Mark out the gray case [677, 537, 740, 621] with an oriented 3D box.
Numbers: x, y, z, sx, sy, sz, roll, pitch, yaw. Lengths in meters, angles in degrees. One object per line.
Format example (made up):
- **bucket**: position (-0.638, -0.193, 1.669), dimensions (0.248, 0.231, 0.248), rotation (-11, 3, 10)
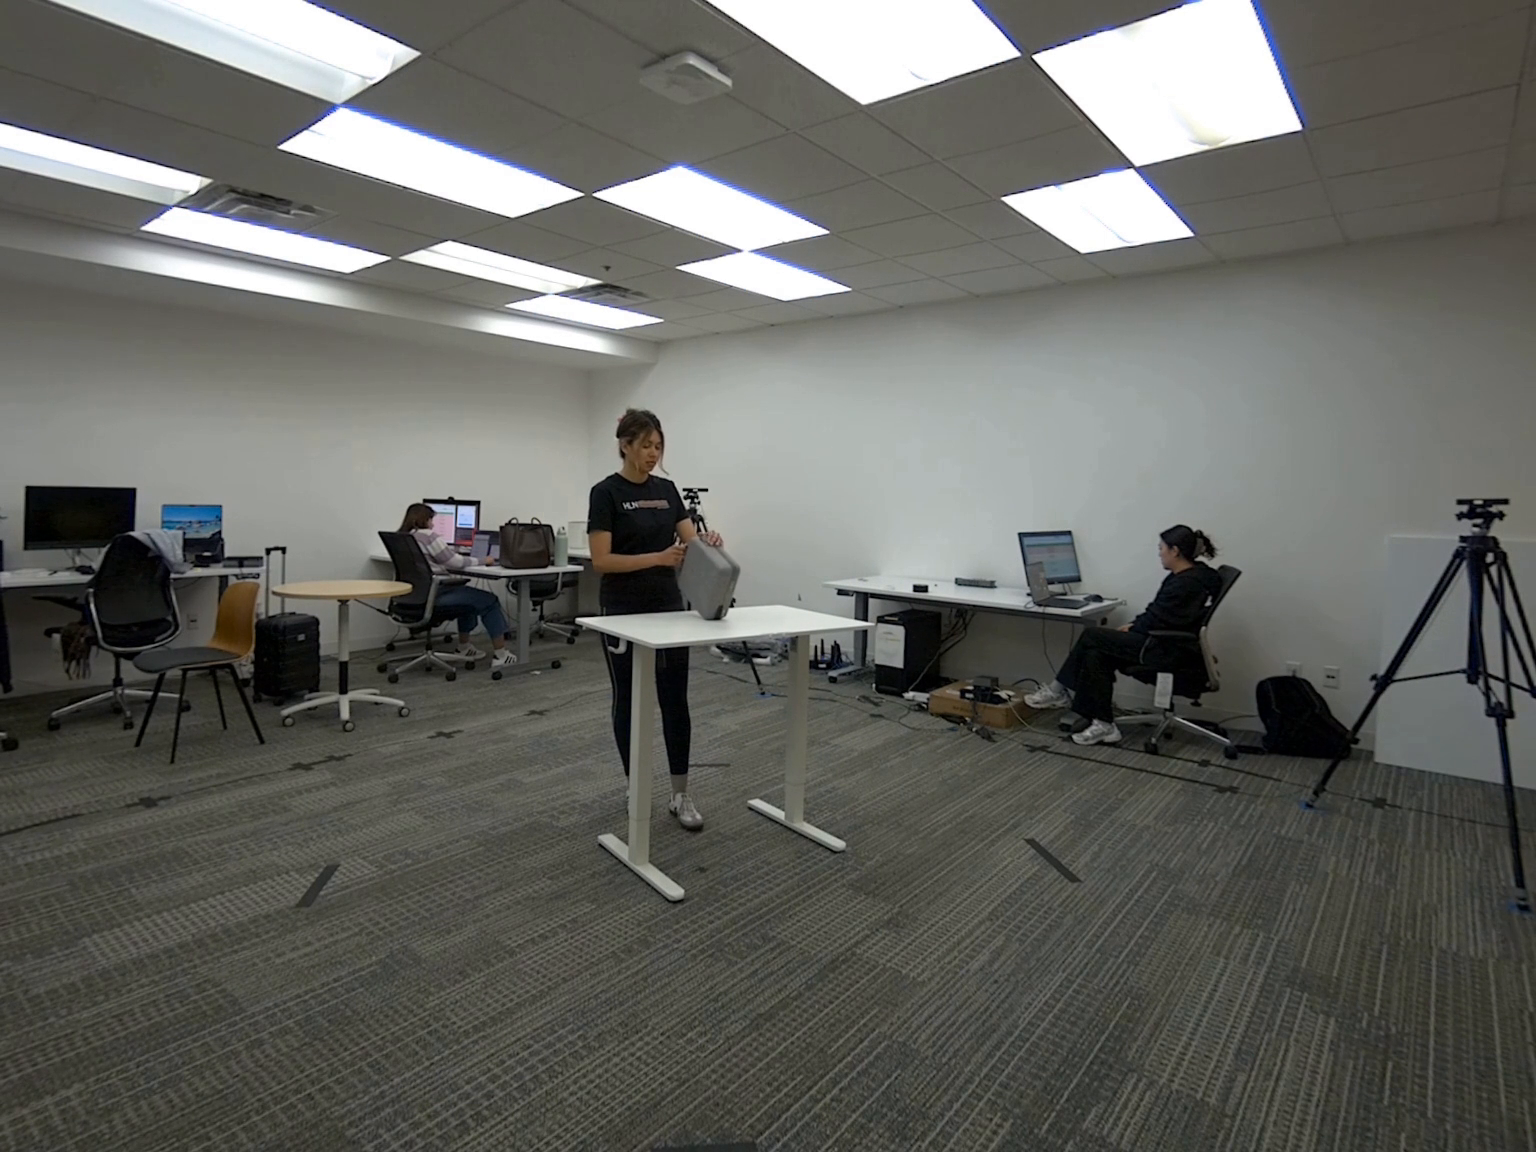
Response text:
- **gray case**: position (-0.245, 0.000, 3.332), dimensions (0.101, 0.253, 0.272), rotation (-5, 35, -34)
